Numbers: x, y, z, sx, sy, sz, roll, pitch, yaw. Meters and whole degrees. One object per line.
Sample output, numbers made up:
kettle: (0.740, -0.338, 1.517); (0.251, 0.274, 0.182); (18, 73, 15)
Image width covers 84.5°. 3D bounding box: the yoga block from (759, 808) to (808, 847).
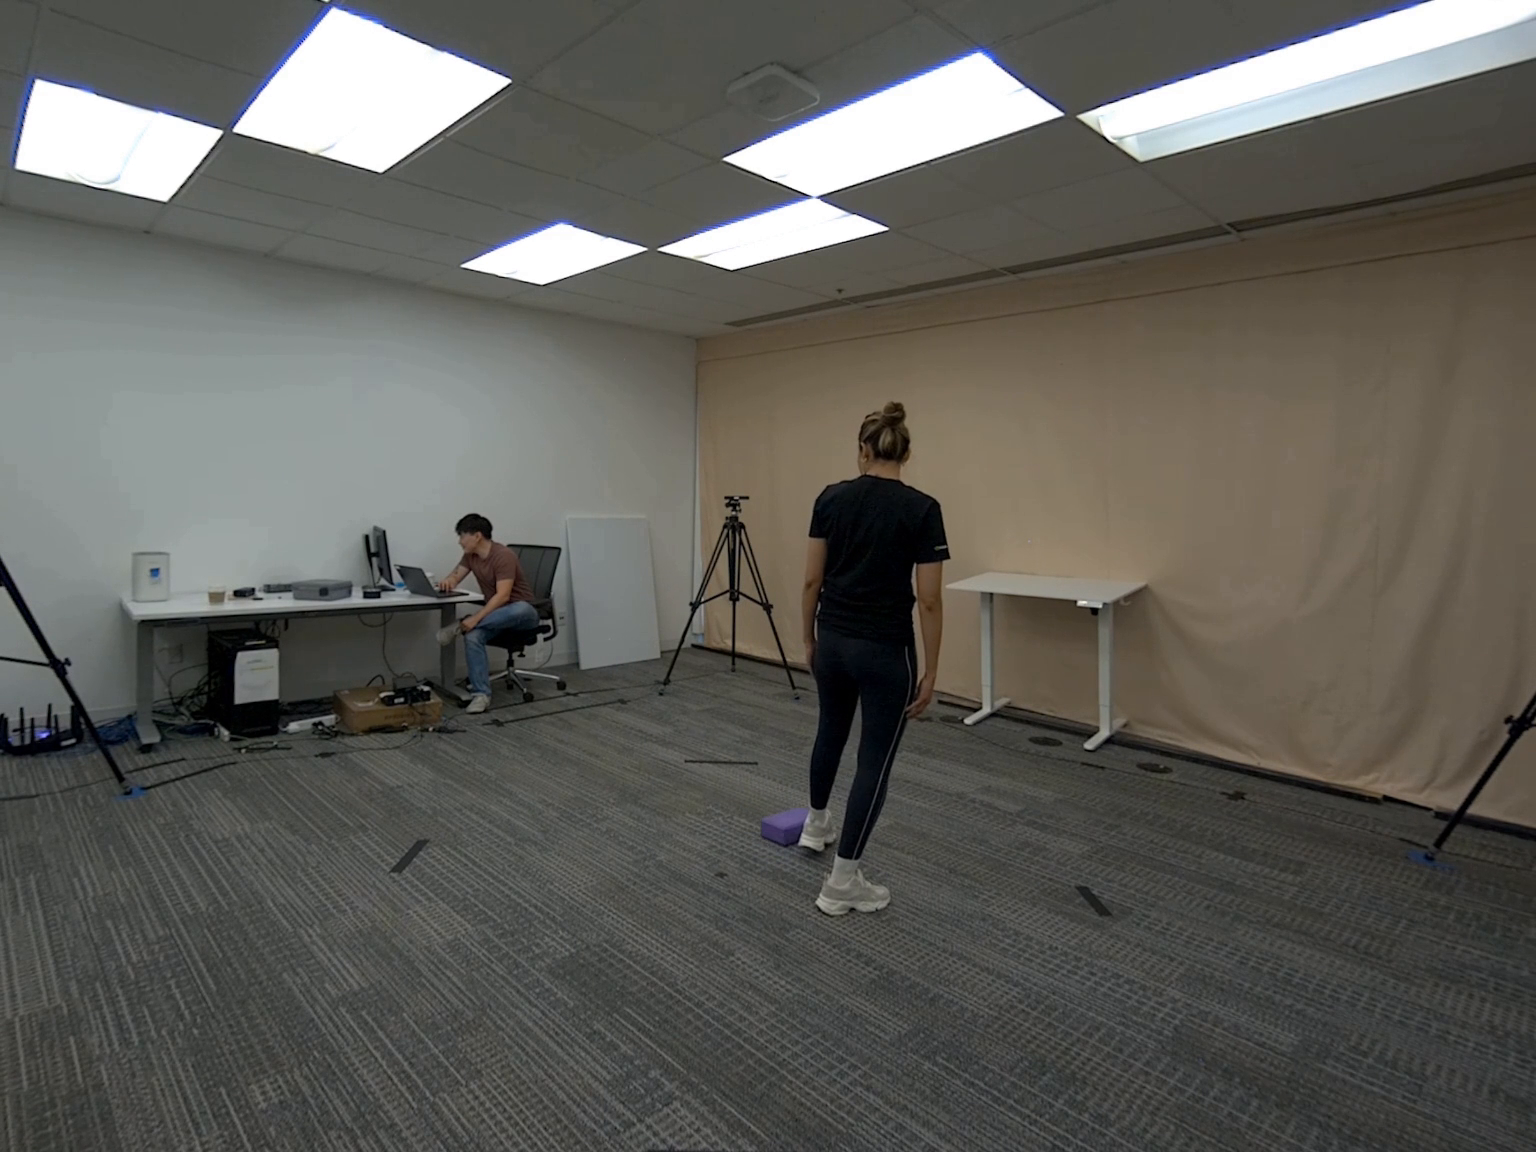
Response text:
yoga block: (0.094, 1.031, 3.485); (0.224, 0.076, 0.152); (-5, 5, -43)
